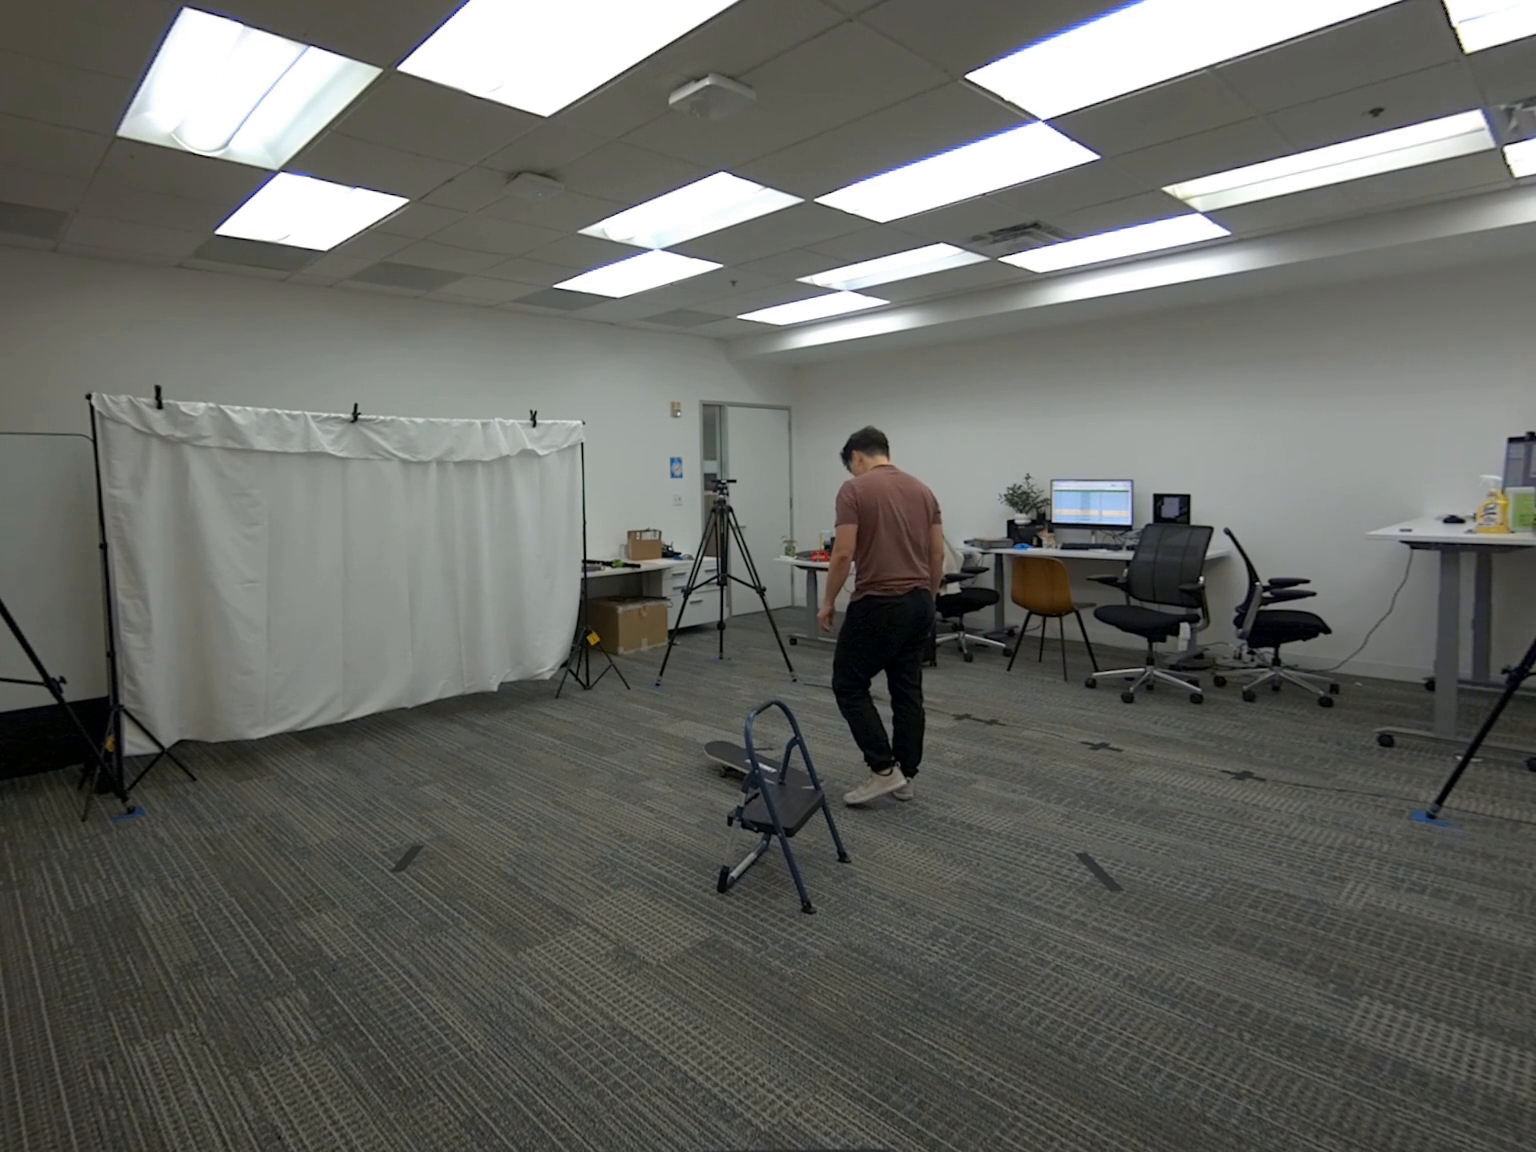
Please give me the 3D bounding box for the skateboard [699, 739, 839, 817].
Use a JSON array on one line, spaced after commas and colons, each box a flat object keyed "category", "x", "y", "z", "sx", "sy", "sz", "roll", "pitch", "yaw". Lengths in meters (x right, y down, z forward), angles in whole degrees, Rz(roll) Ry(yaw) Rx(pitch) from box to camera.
[{"category": "skateboard", "x": -0.021, "y": 0.906, "z": 3.920, "sx": 0.188, "sy": 0.110, "sz": 0.809, "roll": -4, "pitch": 6, "yaw": -36}]
